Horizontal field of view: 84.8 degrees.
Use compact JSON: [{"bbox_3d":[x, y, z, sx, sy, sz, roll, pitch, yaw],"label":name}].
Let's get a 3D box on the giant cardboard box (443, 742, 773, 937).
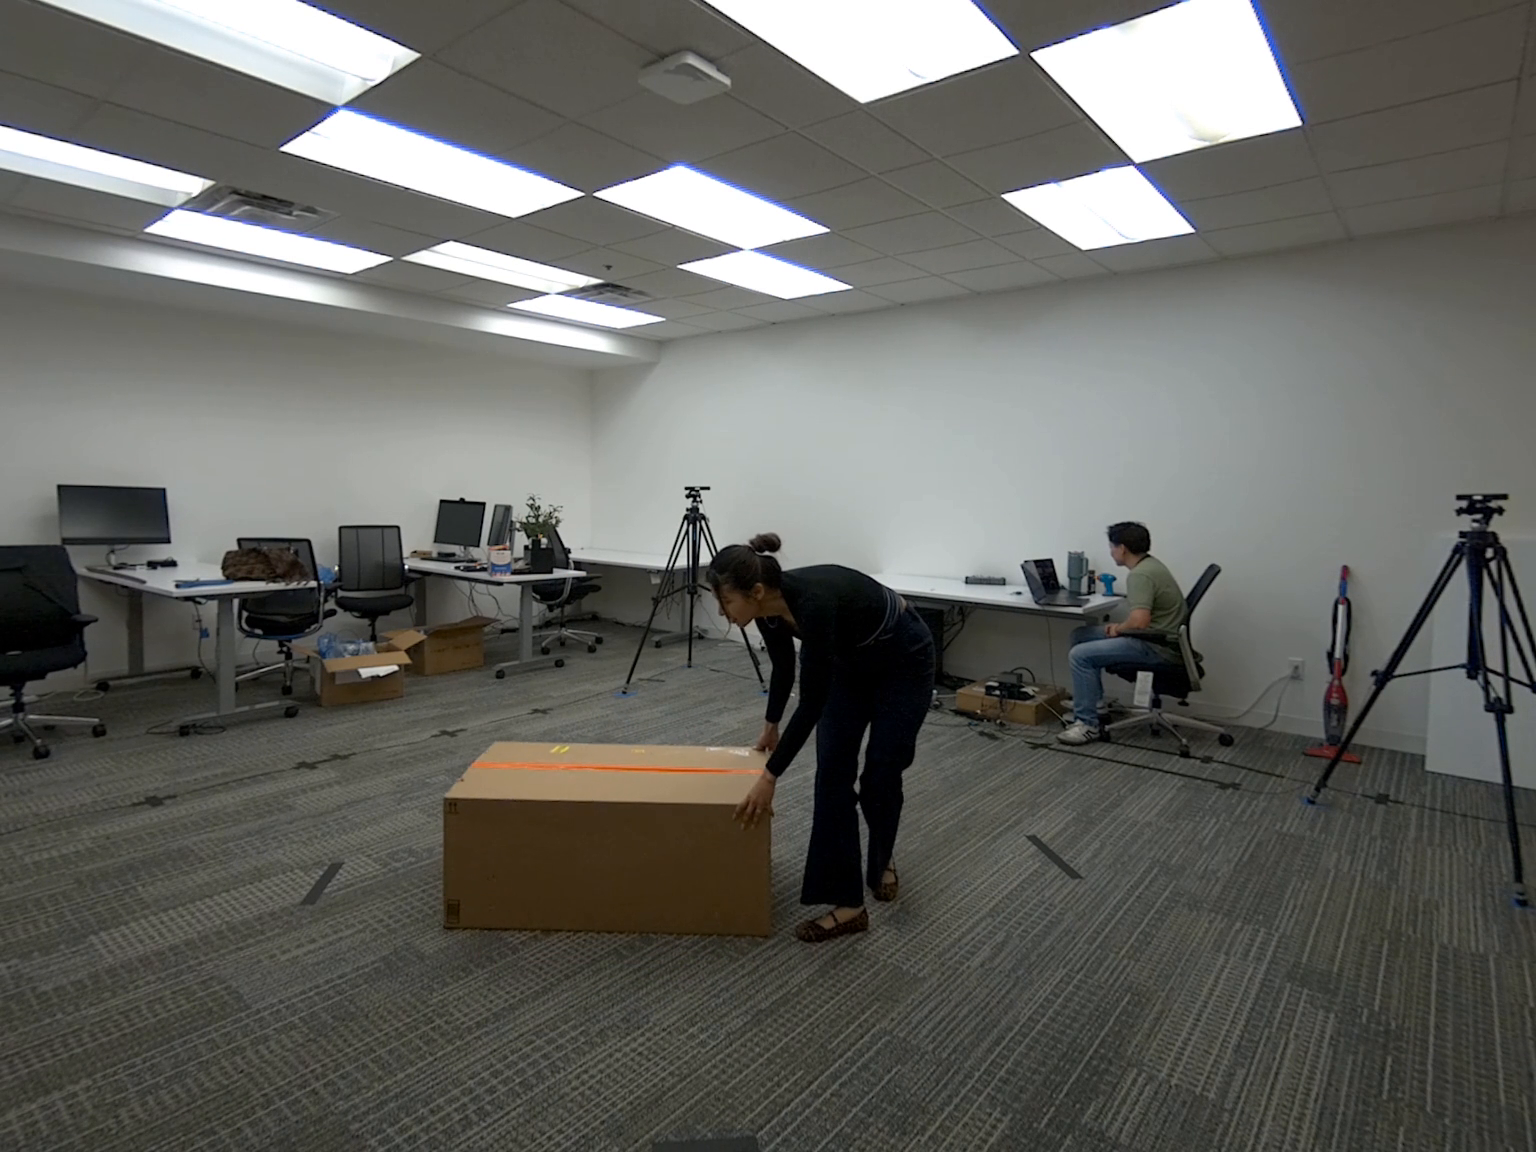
[{"bbox_3d":[-0.523,0.865,2.915,1.027,0.425,0.579,1,4,1],"label":"giant cardboard box"}]
